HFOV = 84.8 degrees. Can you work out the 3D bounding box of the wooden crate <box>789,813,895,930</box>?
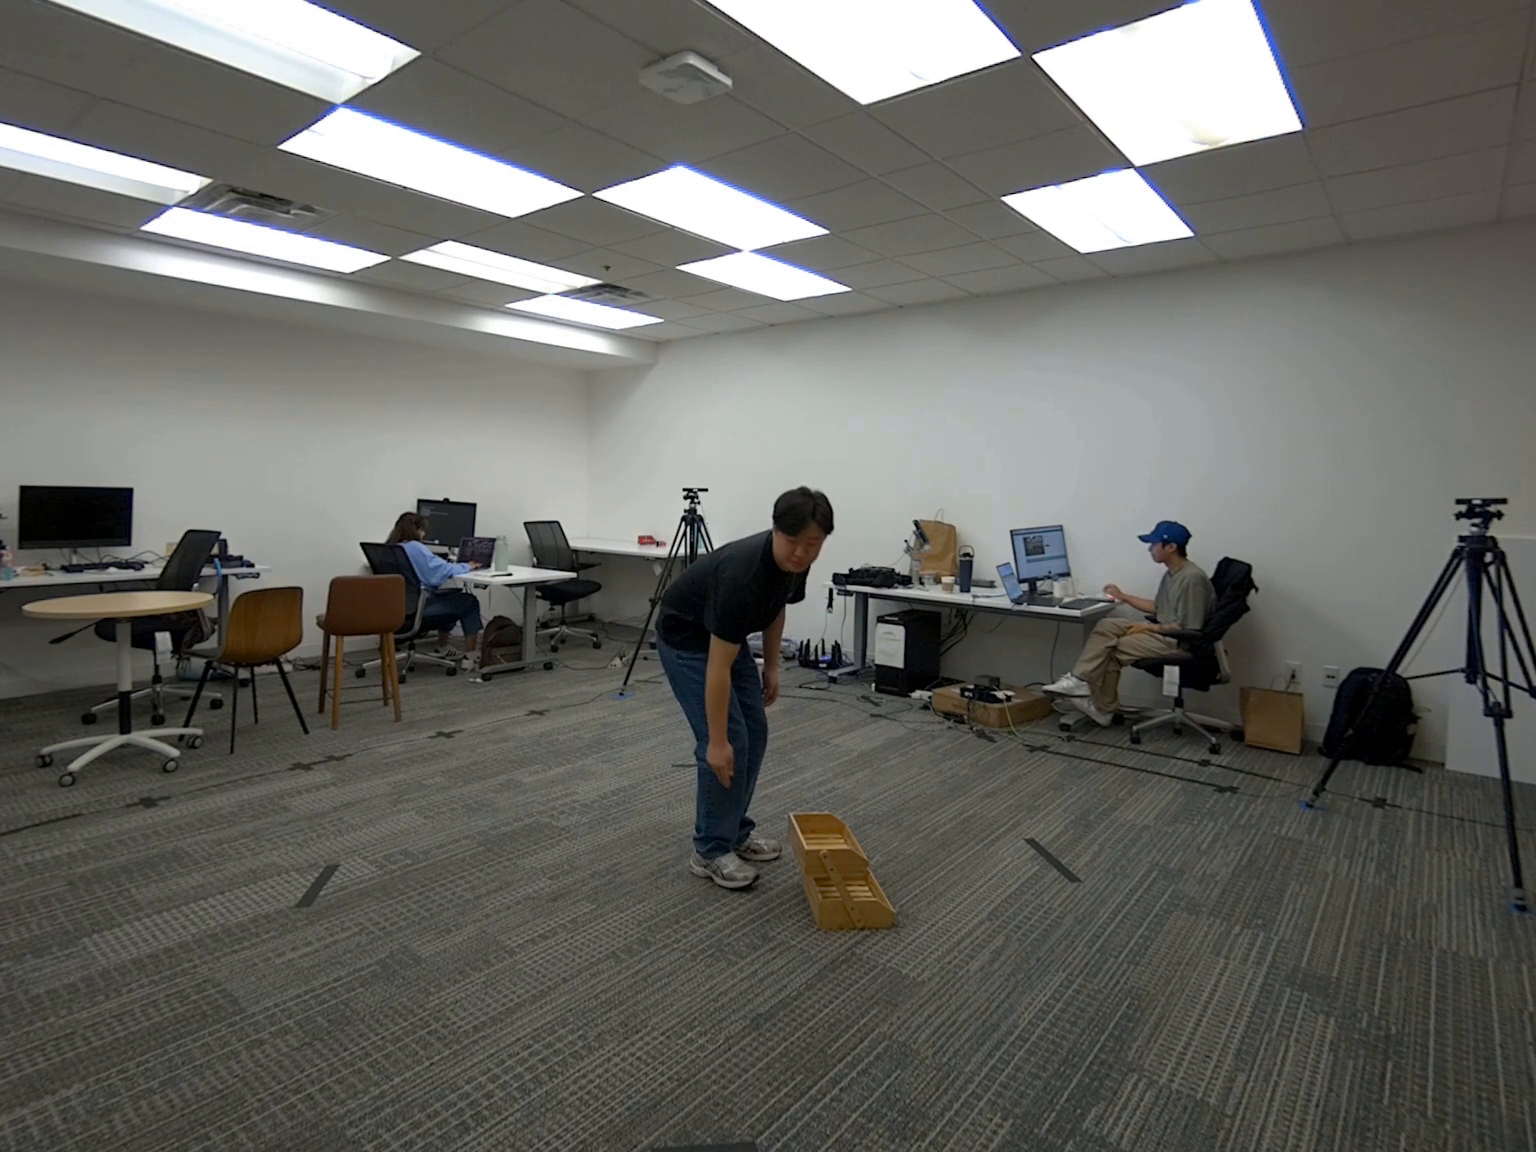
[{"bbox_3d":[0.244,0.970,2.849,0.300,0.272,0.327,1,4,-6],"label":"wooden crate"}]
